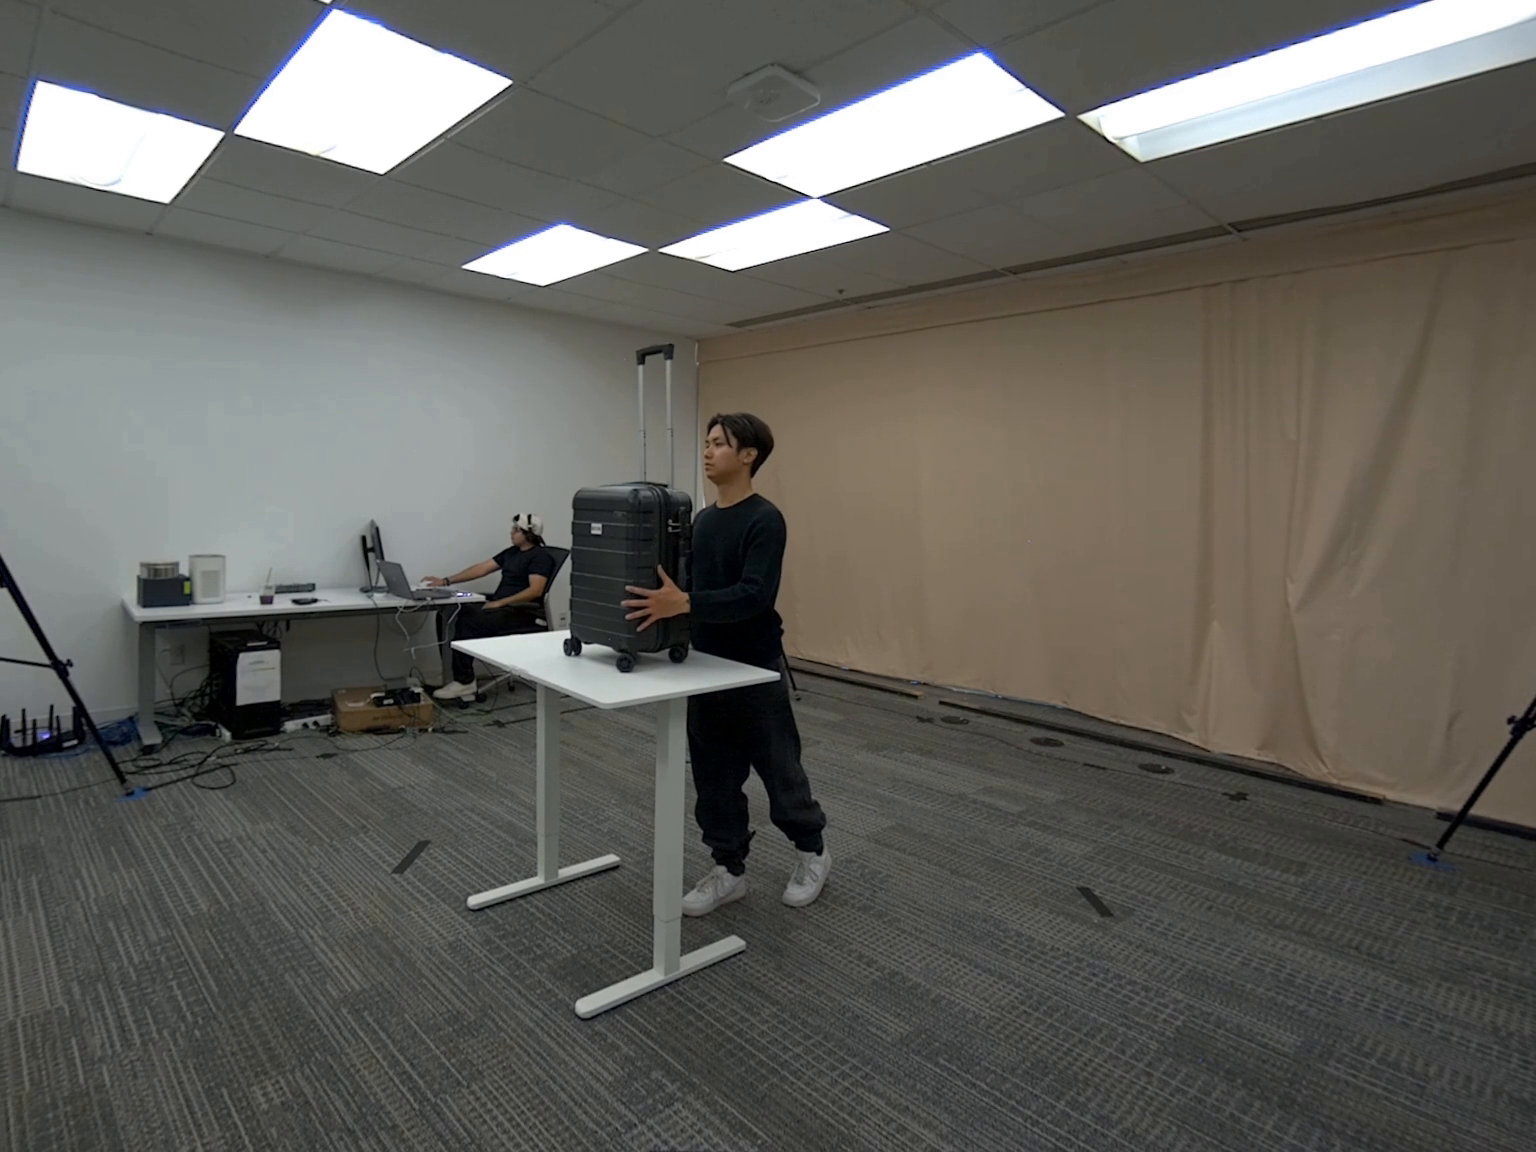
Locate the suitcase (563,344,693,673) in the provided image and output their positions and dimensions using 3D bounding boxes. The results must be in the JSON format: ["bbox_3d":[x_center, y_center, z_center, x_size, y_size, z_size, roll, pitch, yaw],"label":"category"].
[{"bbox_3d":[-0.432,-0.218,2.581,0.394,0.975,0.251,5,7,45],"label":"suitcase"}]
